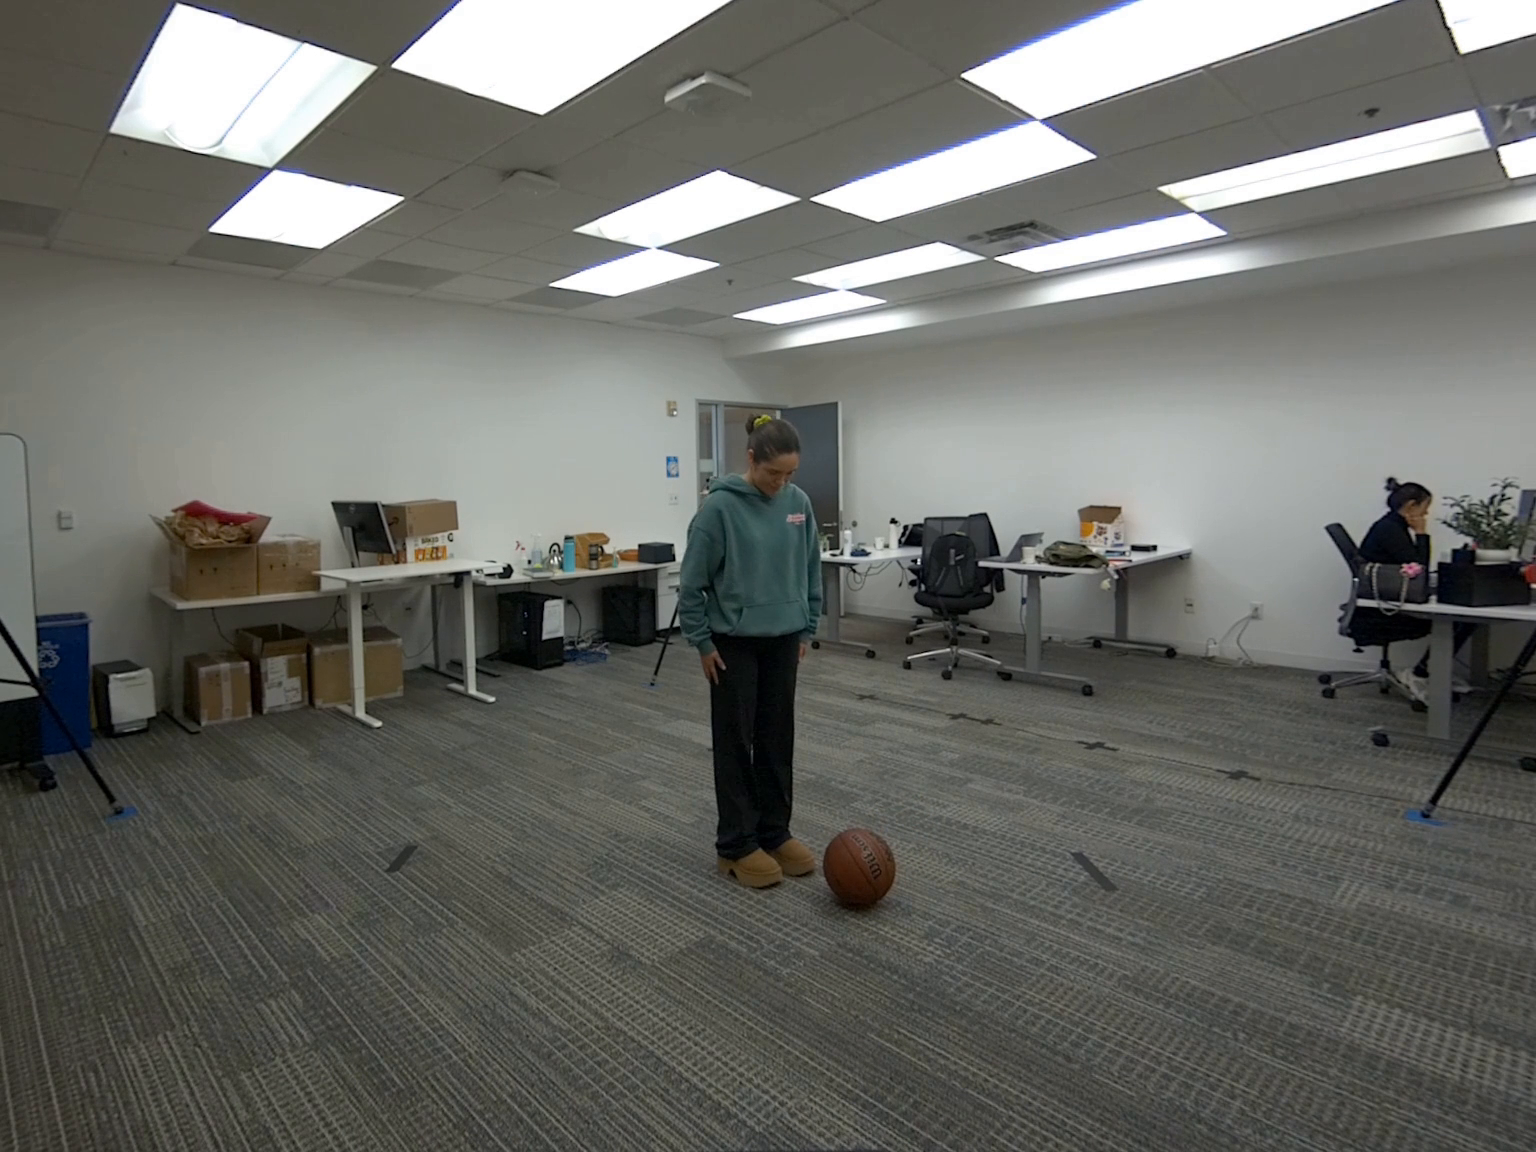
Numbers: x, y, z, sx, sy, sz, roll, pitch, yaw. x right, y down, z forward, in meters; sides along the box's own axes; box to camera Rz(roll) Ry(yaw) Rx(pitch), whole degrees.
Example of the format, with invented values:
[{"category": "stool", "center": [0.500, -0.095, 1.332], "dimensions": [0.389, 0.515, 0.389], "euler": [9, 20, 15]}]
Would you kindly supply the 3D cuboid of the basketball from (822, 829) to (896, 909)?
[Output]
[{"category": "basketball", "center": [0.303, 0.950, 2.808], "dimensions": [0.236, 0.235, 0.237], "euler": [-1, 5, -2]}]
